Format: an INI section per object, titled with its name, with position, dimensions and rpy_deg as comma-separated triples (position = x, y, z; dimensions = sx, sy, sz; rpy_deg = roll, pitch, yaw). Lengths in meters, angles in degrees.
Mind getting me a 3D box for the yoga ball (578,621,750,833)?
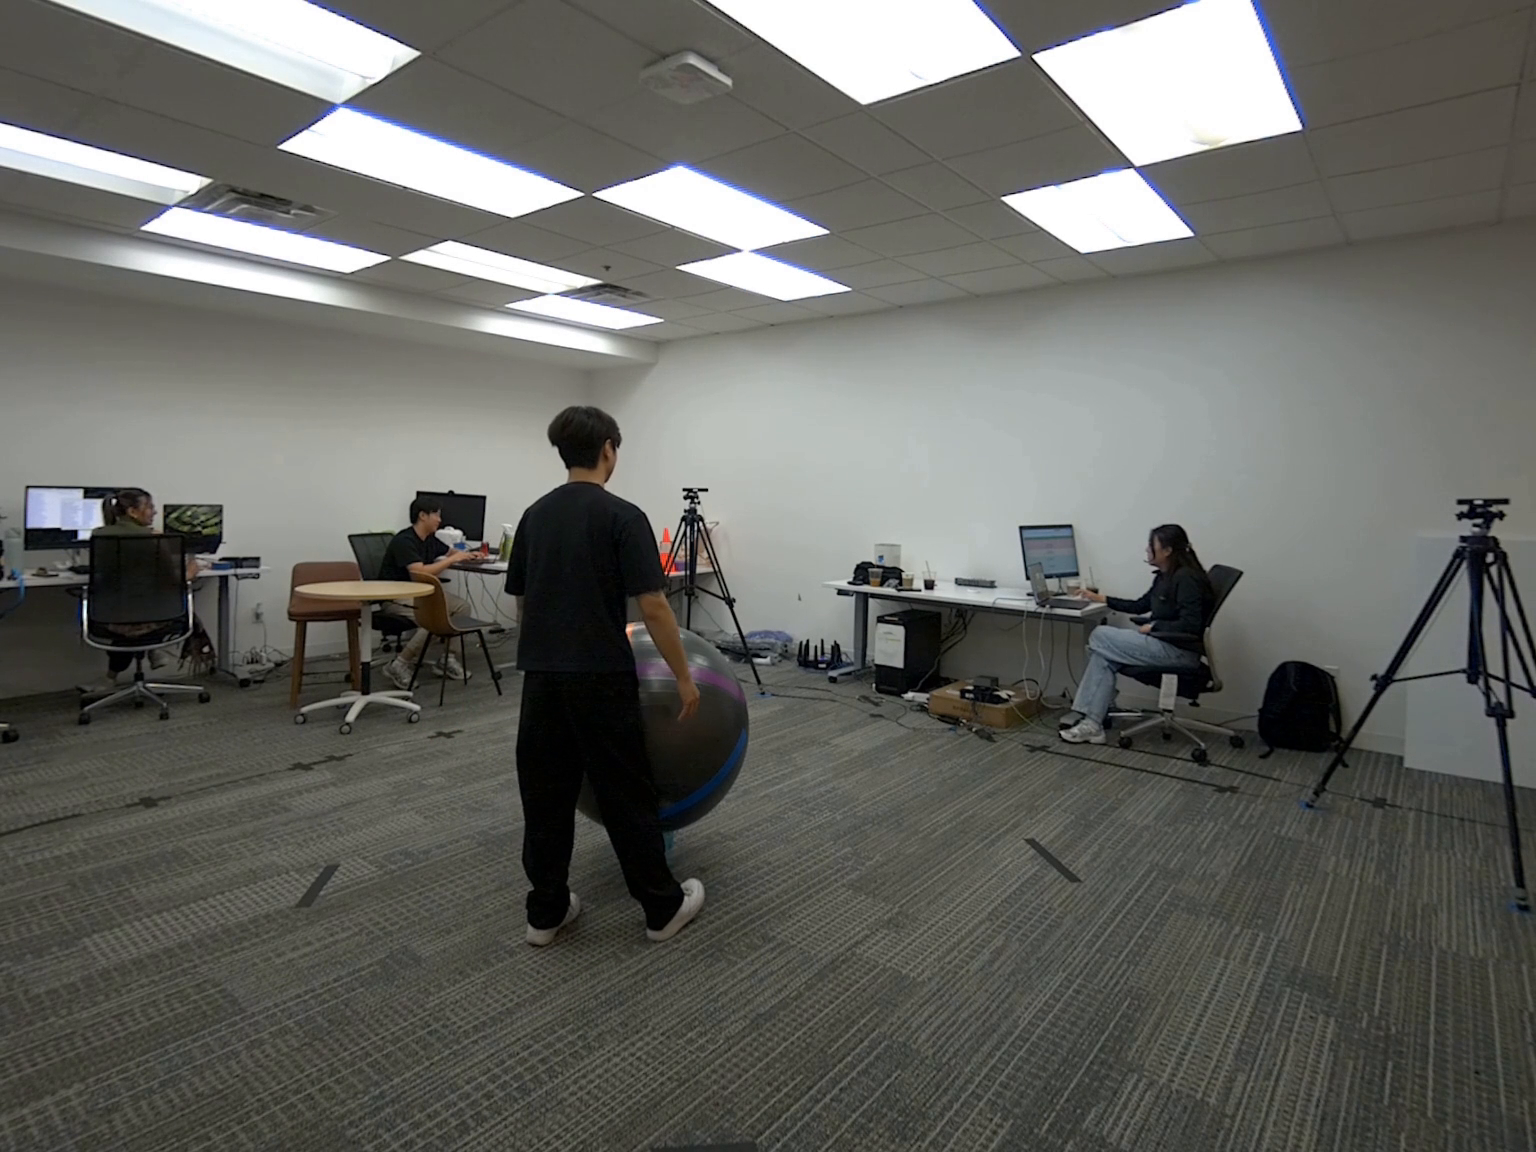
[yoga ball]
position = -0.459, 0.554, 3.136
dimensions = 0.757, 0.755, 0.762
rpy_deg = 1, 4, -2
